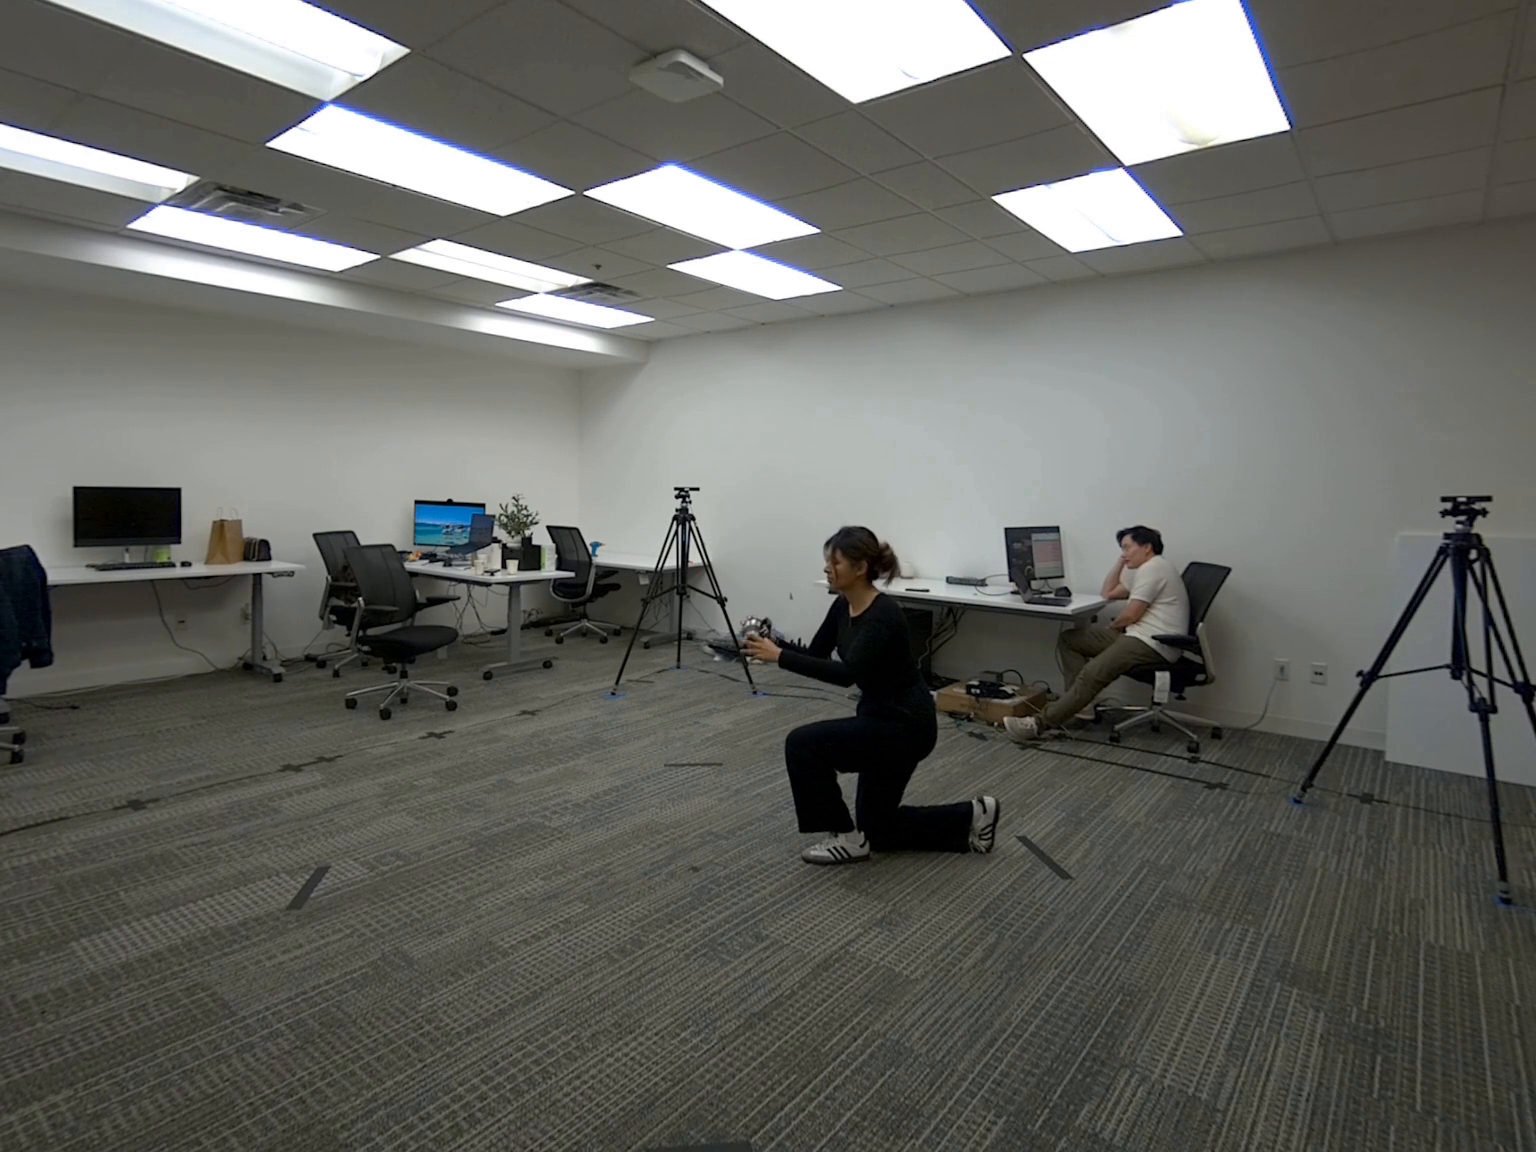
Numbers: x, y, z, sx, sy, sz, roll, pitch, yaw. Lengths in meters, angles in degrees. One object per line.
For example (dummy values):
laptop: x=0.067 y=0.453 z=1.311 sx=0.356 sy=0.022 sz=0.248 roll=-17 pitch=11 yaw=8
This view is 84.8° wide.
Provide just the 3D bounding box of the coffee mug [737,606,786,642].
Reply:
coffee mug: x=-0.028 y=0.202 z=3.204 sx=0.086 sy=0.122 sz=0.206 roll=39 pitch=-3 yaw=-12
